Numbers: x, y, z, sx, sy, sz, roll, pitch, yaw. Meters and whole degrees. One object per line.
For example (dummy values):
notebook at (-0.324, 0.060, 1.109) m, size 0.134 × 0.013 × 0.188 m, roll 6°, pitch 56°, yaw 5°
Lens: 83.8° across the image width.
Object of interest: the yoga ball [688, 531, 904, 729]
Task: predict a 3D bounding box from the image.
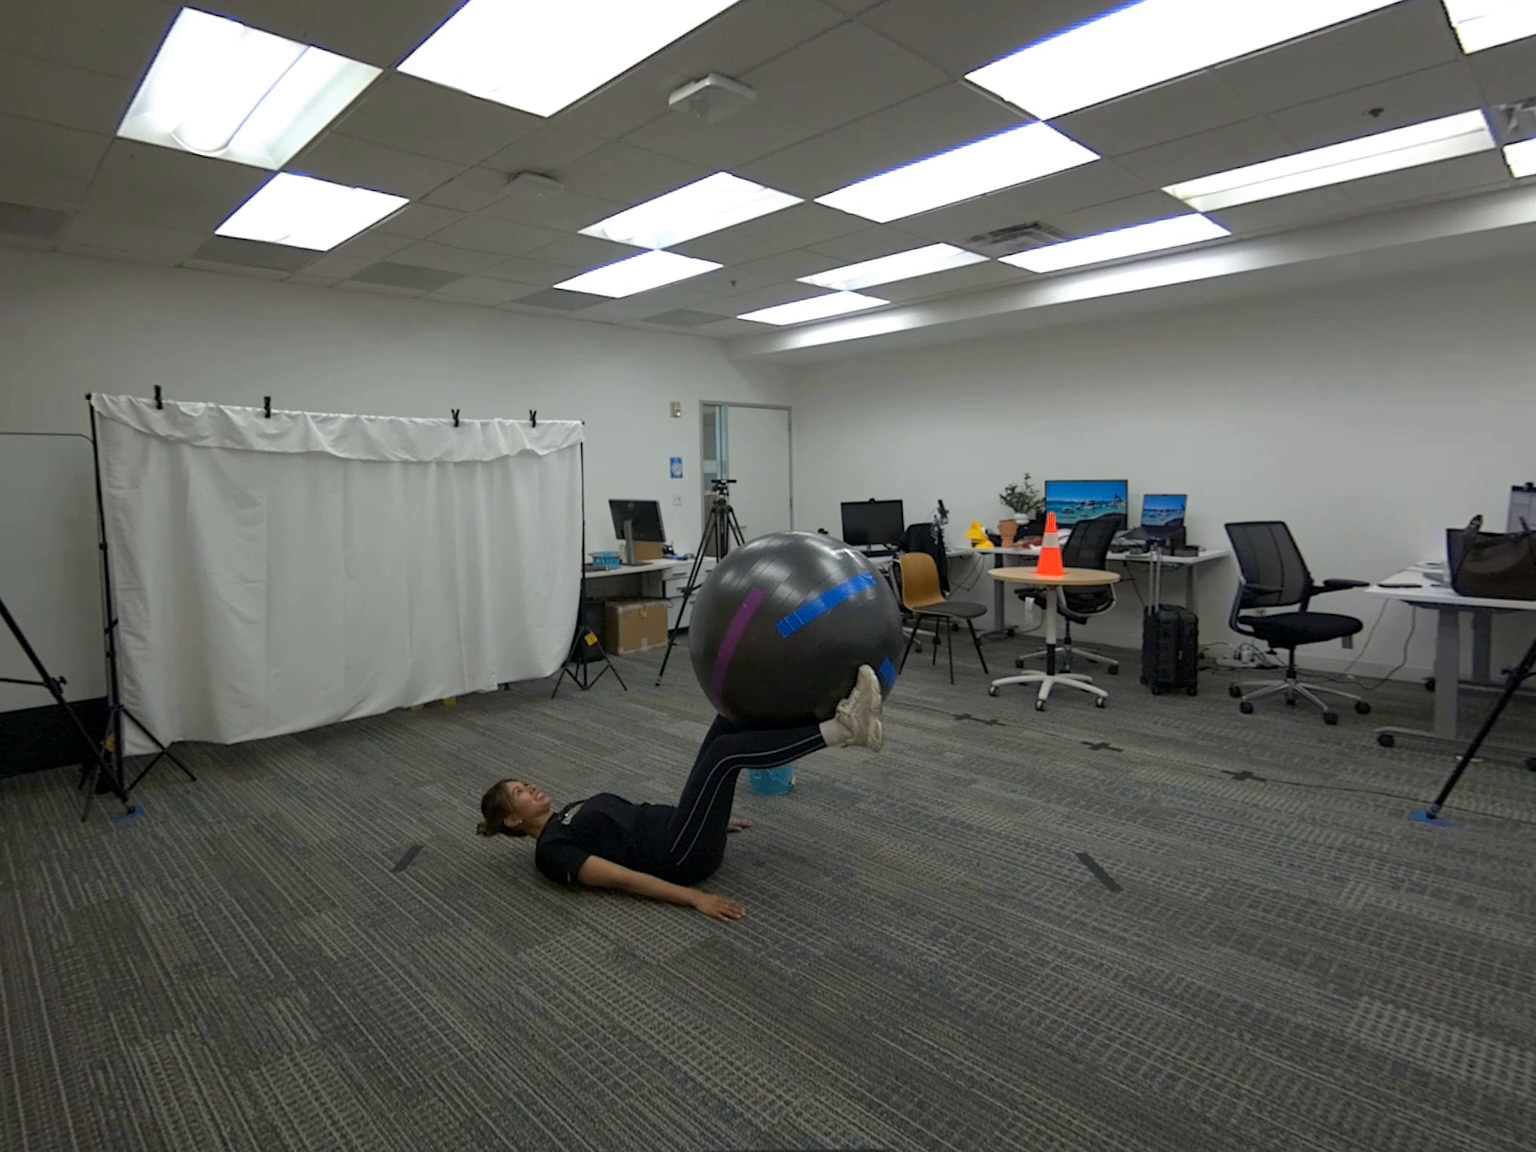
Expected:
yoga ball at (0.096, 0.224, 3.035) m, size 0.757 × 0.755 × 0.762 m, roll -1°, pitch 5°, yaw -2°
